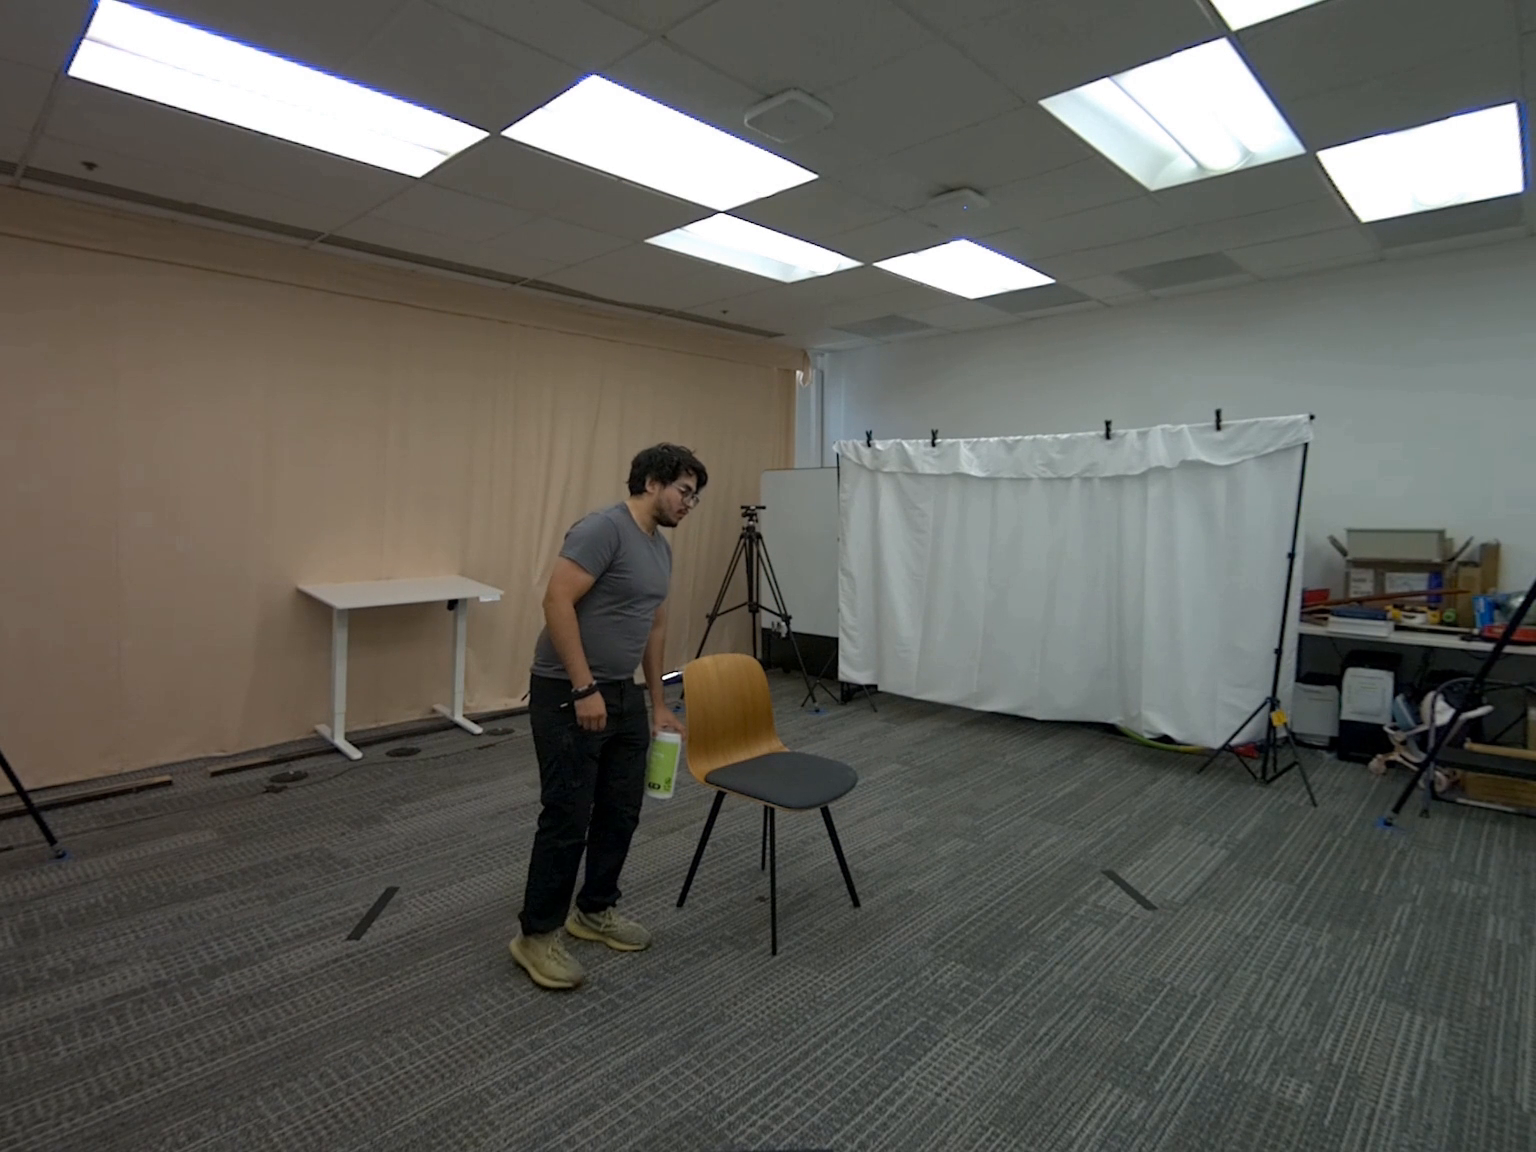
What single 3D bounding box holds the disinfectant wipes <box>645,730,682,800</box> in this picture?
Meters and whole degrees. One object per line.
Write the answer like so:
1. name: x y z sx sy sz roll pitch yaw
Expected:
1. disinfectant wipes: -0.353 0.623 2.800 0.118 0.218 0.117 7 -3 -1
